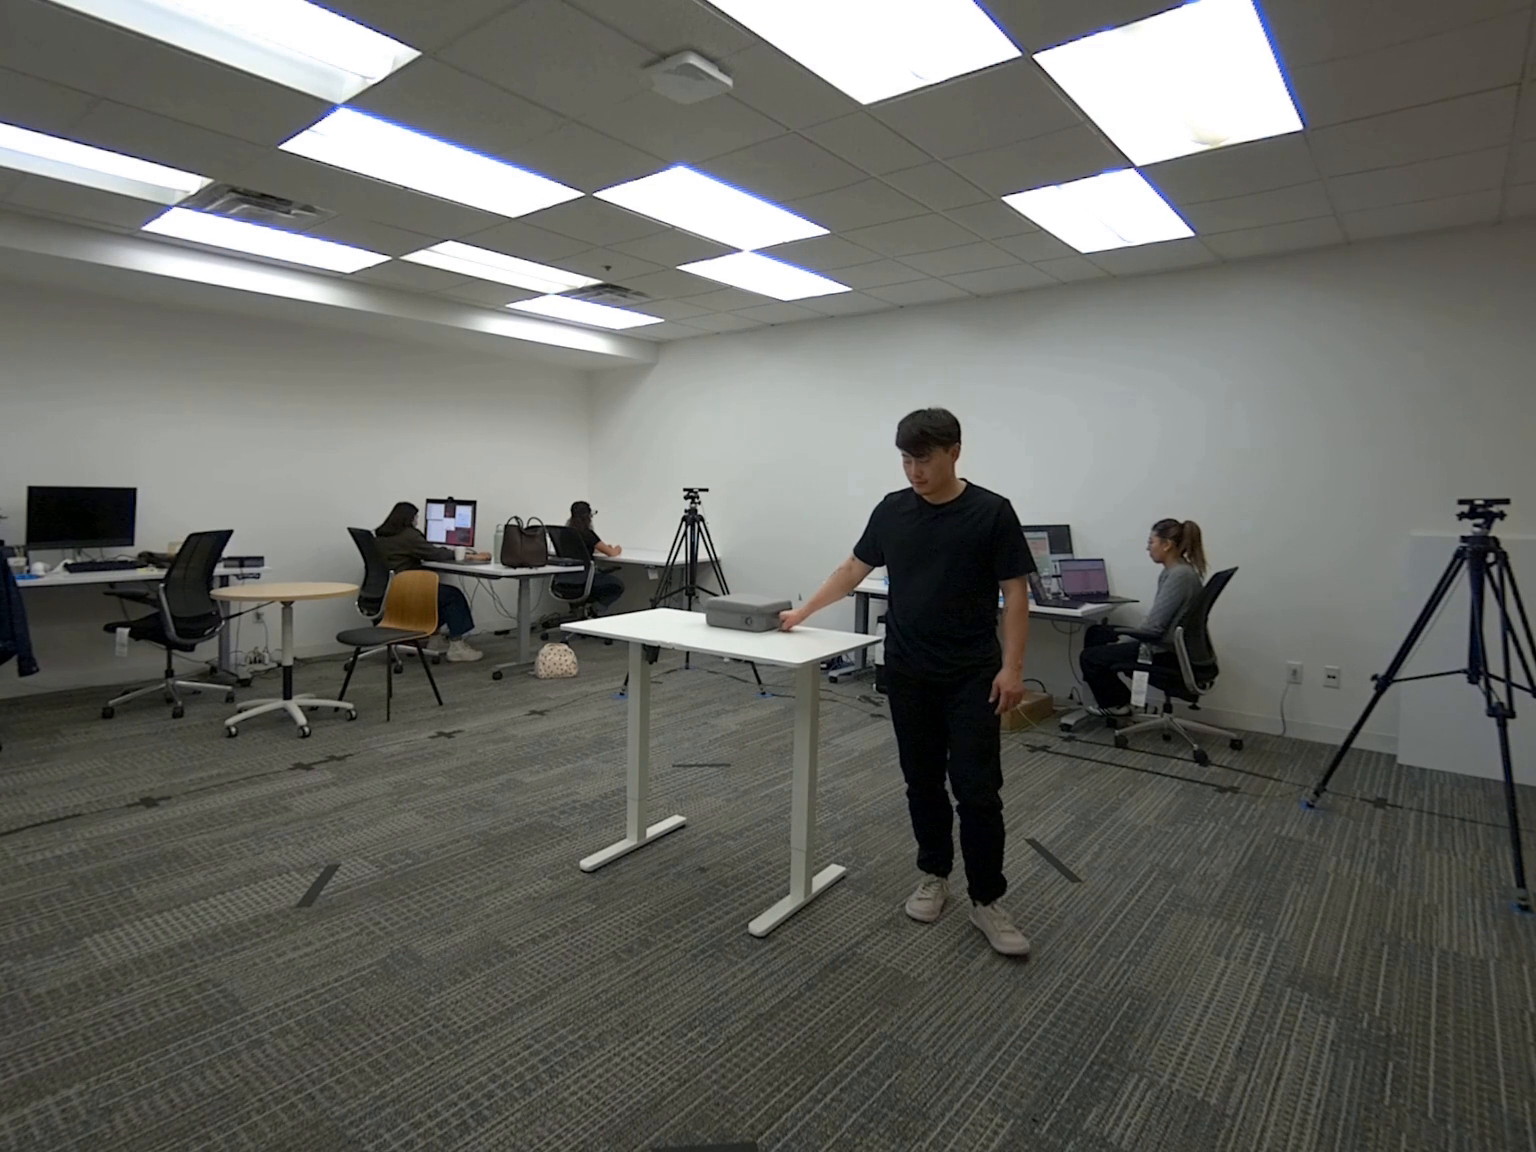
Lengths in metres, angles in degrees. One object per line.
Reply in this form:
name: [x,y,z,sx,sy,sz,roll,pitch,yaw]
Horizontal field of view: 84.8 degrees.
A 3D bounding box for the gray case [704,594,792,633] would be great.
gray case: [-0.079,0.129,3.180,0.269,0.104,0.250,6,6,32]
